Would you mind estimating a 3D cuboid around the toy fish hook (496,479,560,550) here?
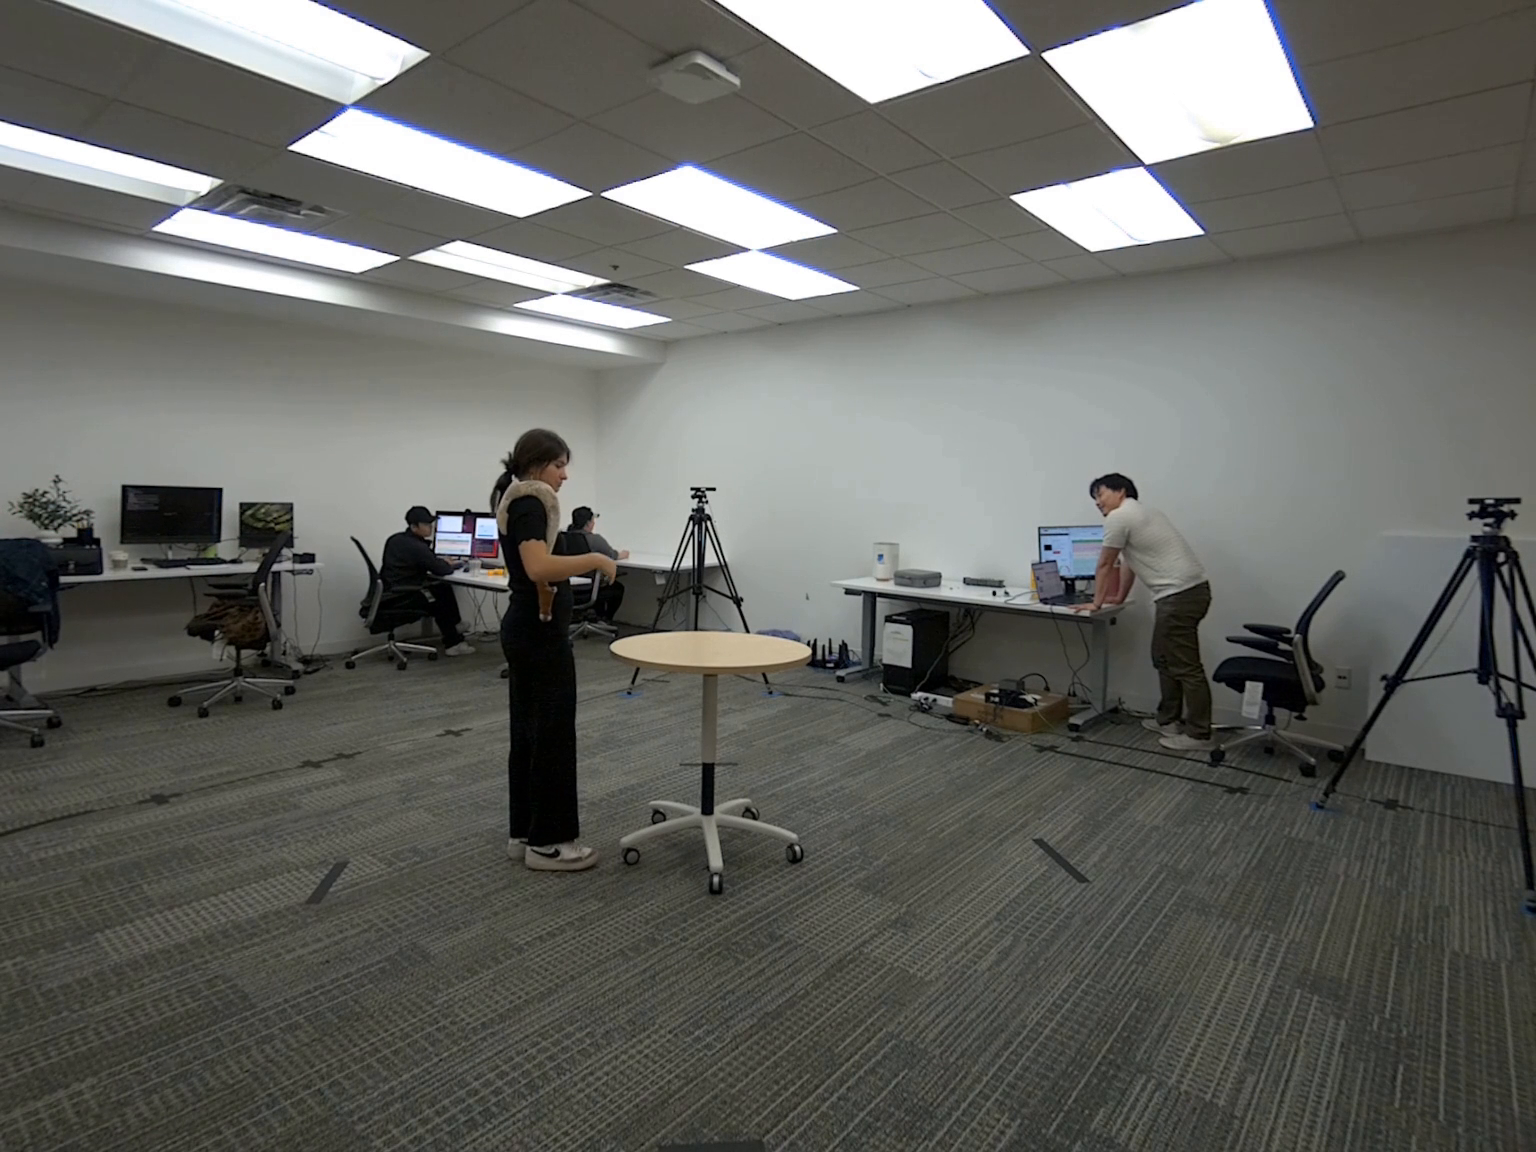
[{"bbox_3d":[-0.853,-0.090,3.008,0.222,0.511,0.048,-2,-8,-12],"label":"toy fish hook"}]
